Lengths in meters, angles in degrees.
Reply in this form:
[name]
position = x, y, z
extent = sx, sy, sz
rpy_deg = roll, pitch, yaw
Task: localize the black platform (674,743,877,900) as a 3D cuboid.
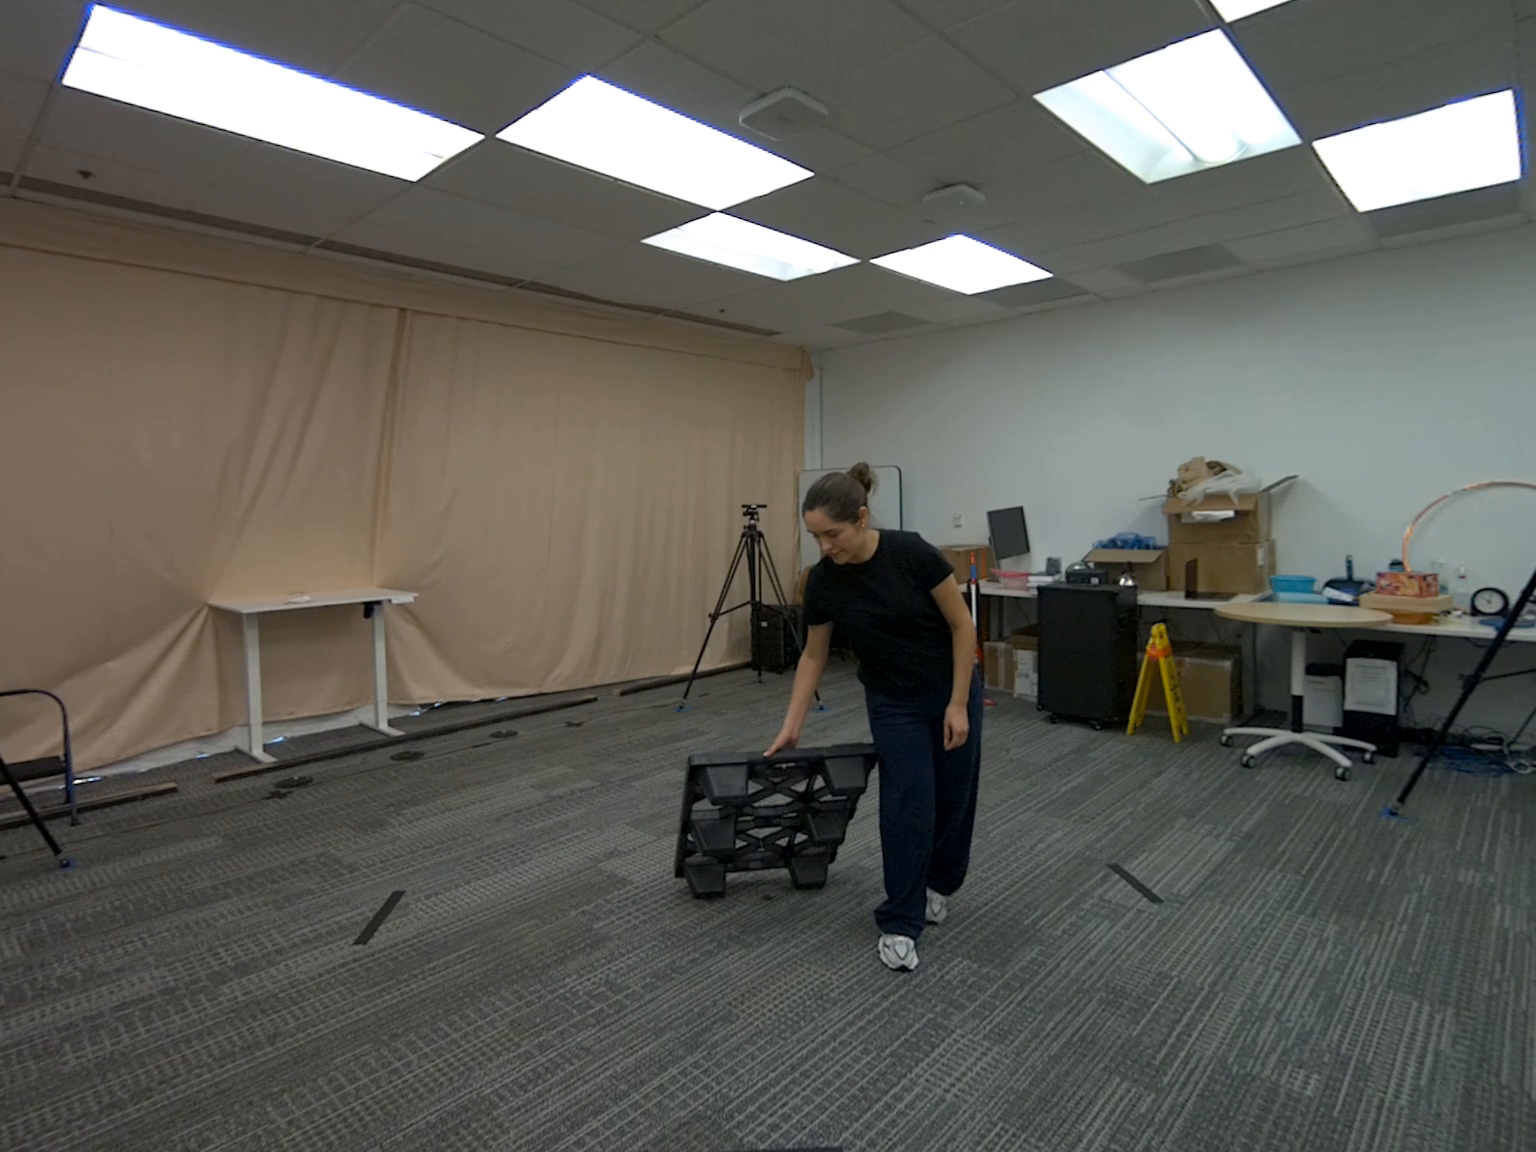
[black platform]
position = 0.022, 0.840, 2.803
extent = 0.599, 0.794, 0.147
rpy_deg = -2, 46, -10
